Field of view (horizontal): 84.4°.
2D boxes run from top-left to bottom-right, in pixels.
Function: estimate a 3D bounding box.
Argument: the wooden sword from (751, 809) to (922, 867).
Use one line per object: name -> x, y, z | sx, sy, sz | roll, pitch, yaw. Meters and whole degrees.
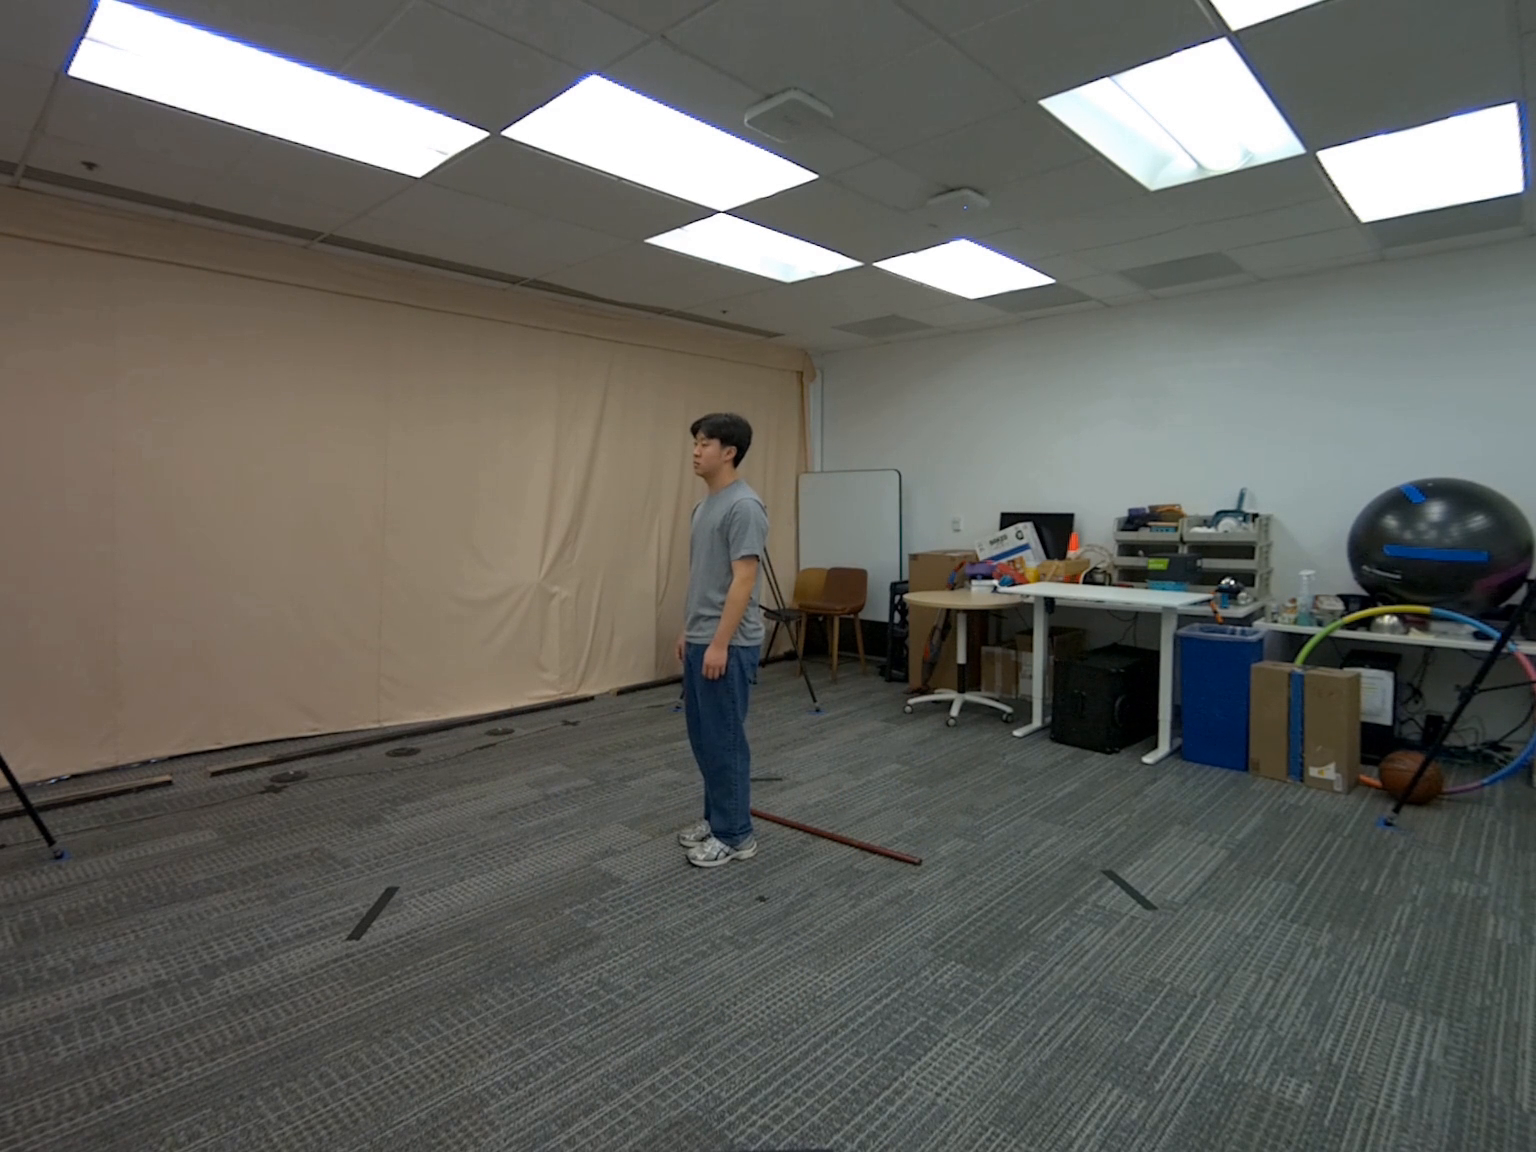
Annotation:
wooden sword -> 0.170, 1.067, 3.583 | 1.059, 0.024, 0.050 | 4, 7, 40
